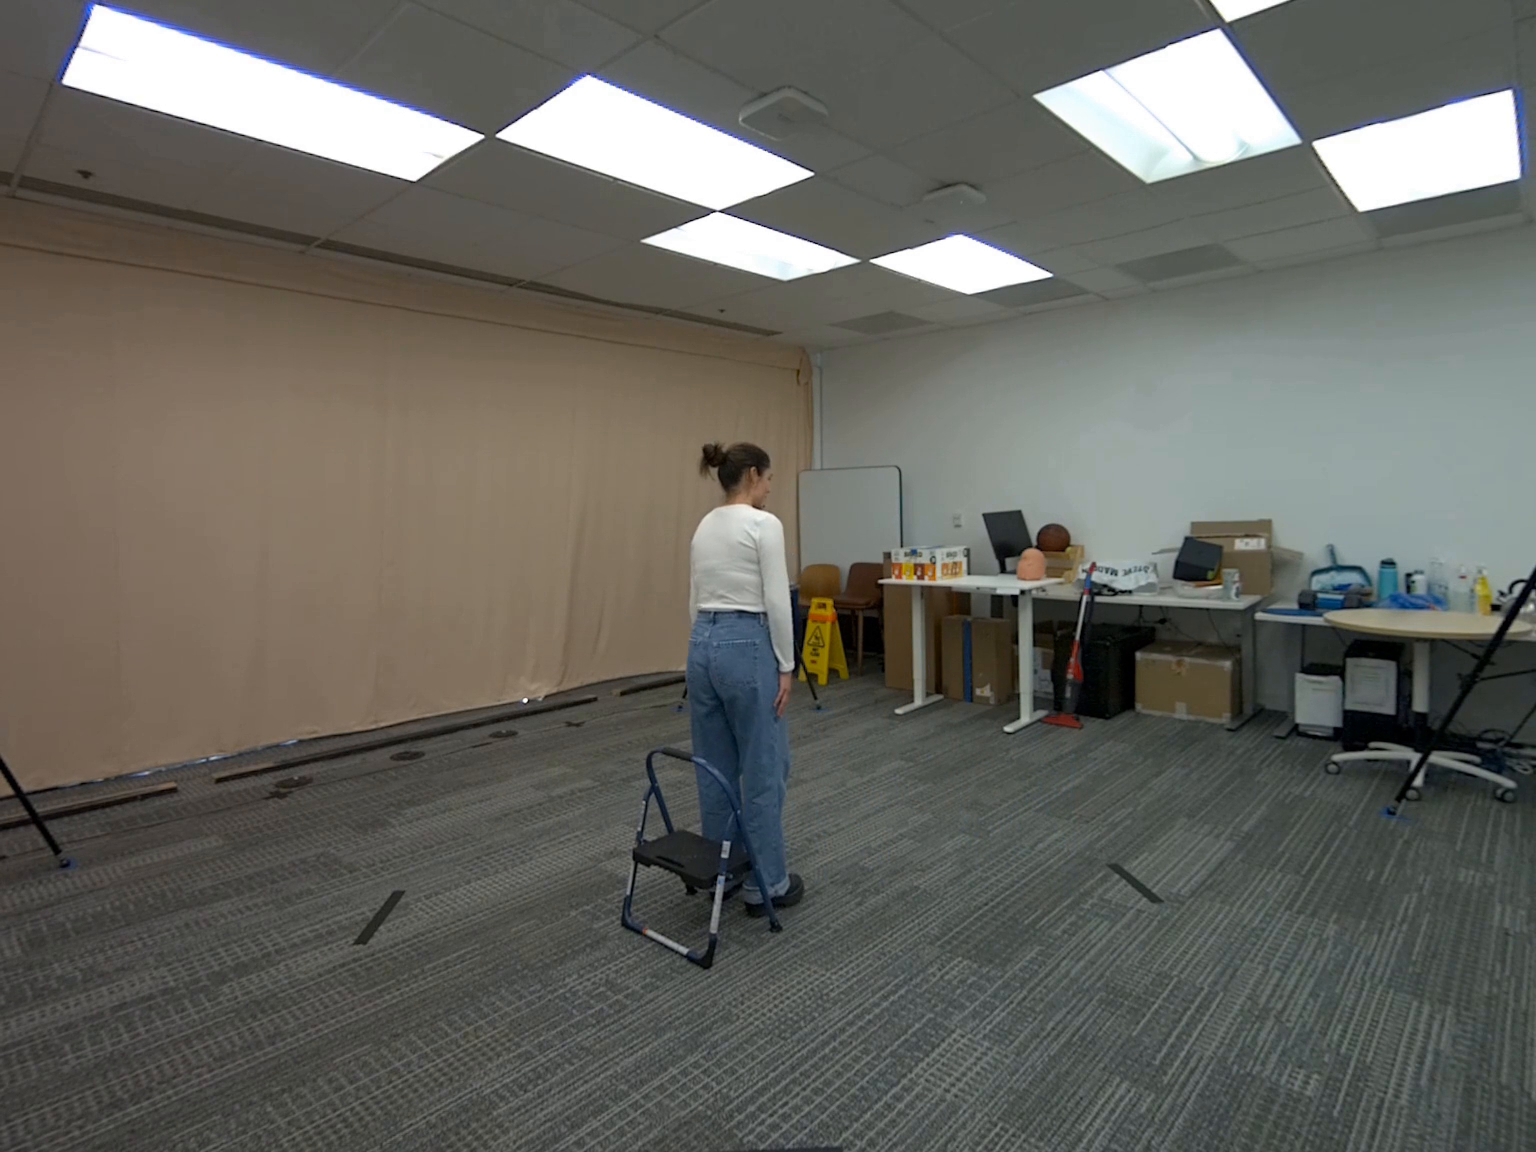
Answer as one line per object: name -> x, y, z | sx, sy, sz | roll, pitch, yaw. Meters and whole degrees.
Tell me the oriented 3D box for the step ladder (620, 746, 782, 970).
step ladder -> -0.230, 0.858, 2.764 | 0.445, 0.605, 0.338 | 2, 4, 42
